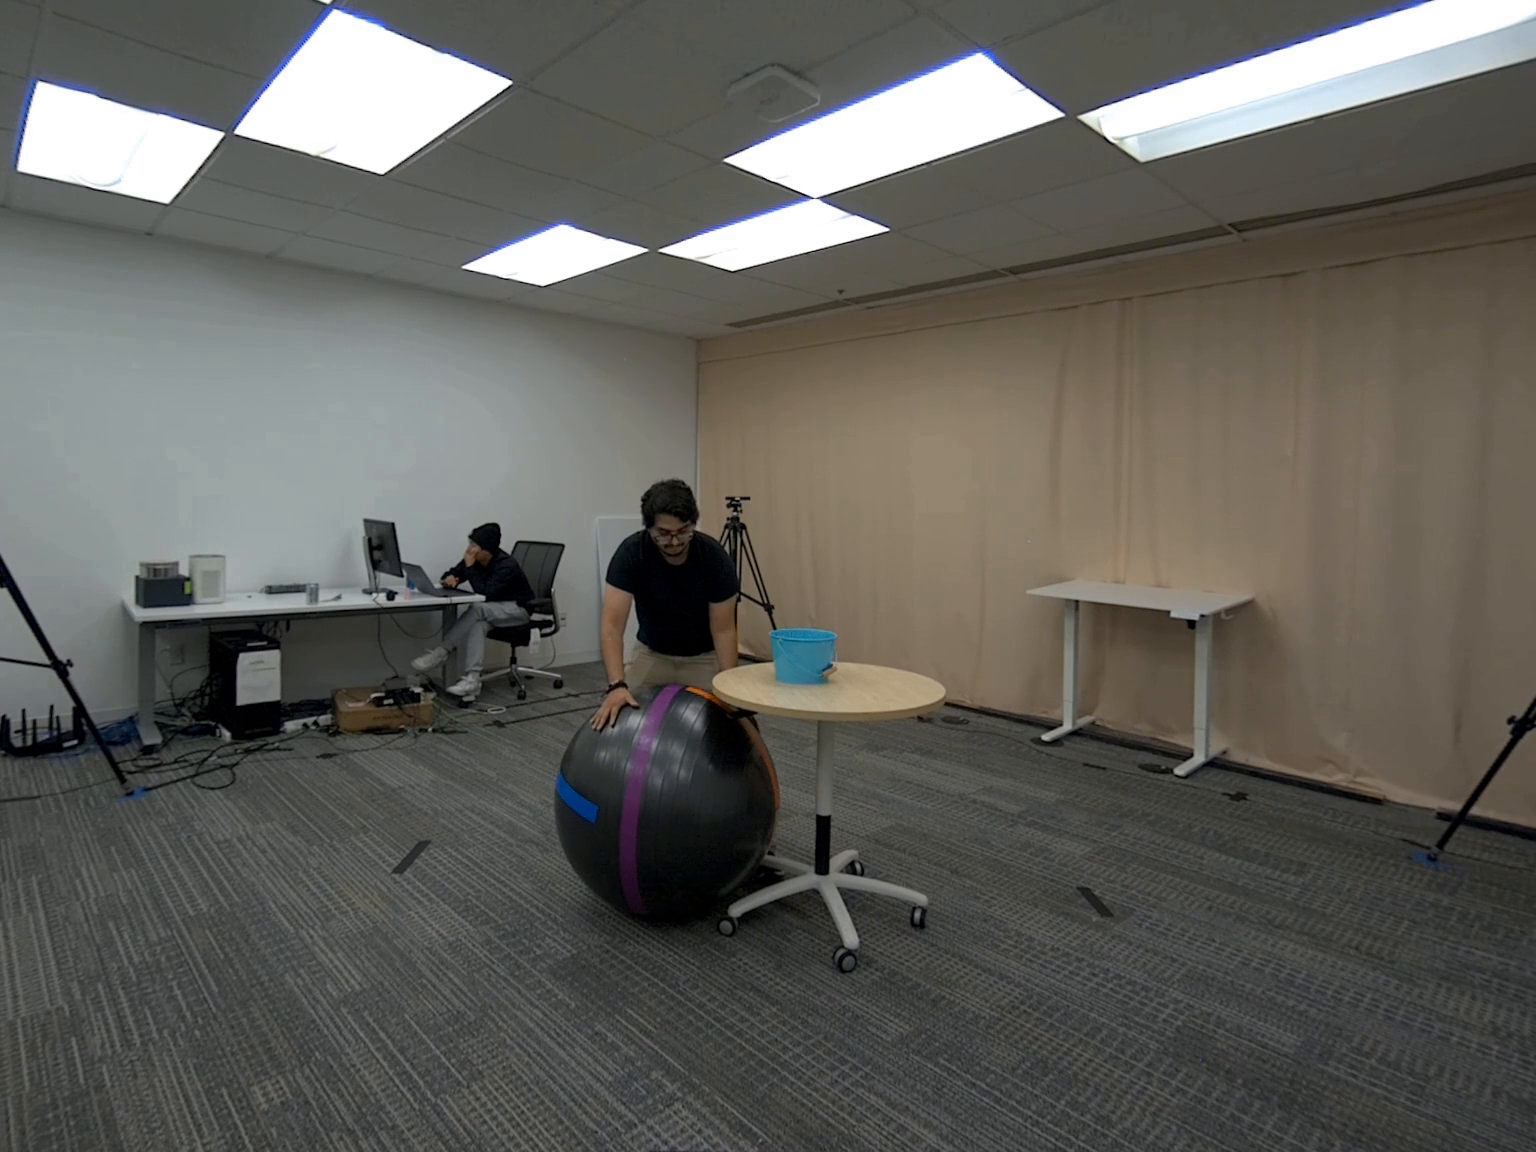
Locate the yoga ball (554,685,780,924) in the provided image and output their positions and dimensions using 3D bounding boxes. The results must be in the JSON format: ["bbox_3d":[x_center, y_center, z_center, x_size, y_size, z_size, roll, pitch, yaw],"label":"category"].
[{"bbox_3d":[-0.355,0.761,2.860,0.757,0.756,0.761,1,4,-1],"label":"yoga ball"}]
